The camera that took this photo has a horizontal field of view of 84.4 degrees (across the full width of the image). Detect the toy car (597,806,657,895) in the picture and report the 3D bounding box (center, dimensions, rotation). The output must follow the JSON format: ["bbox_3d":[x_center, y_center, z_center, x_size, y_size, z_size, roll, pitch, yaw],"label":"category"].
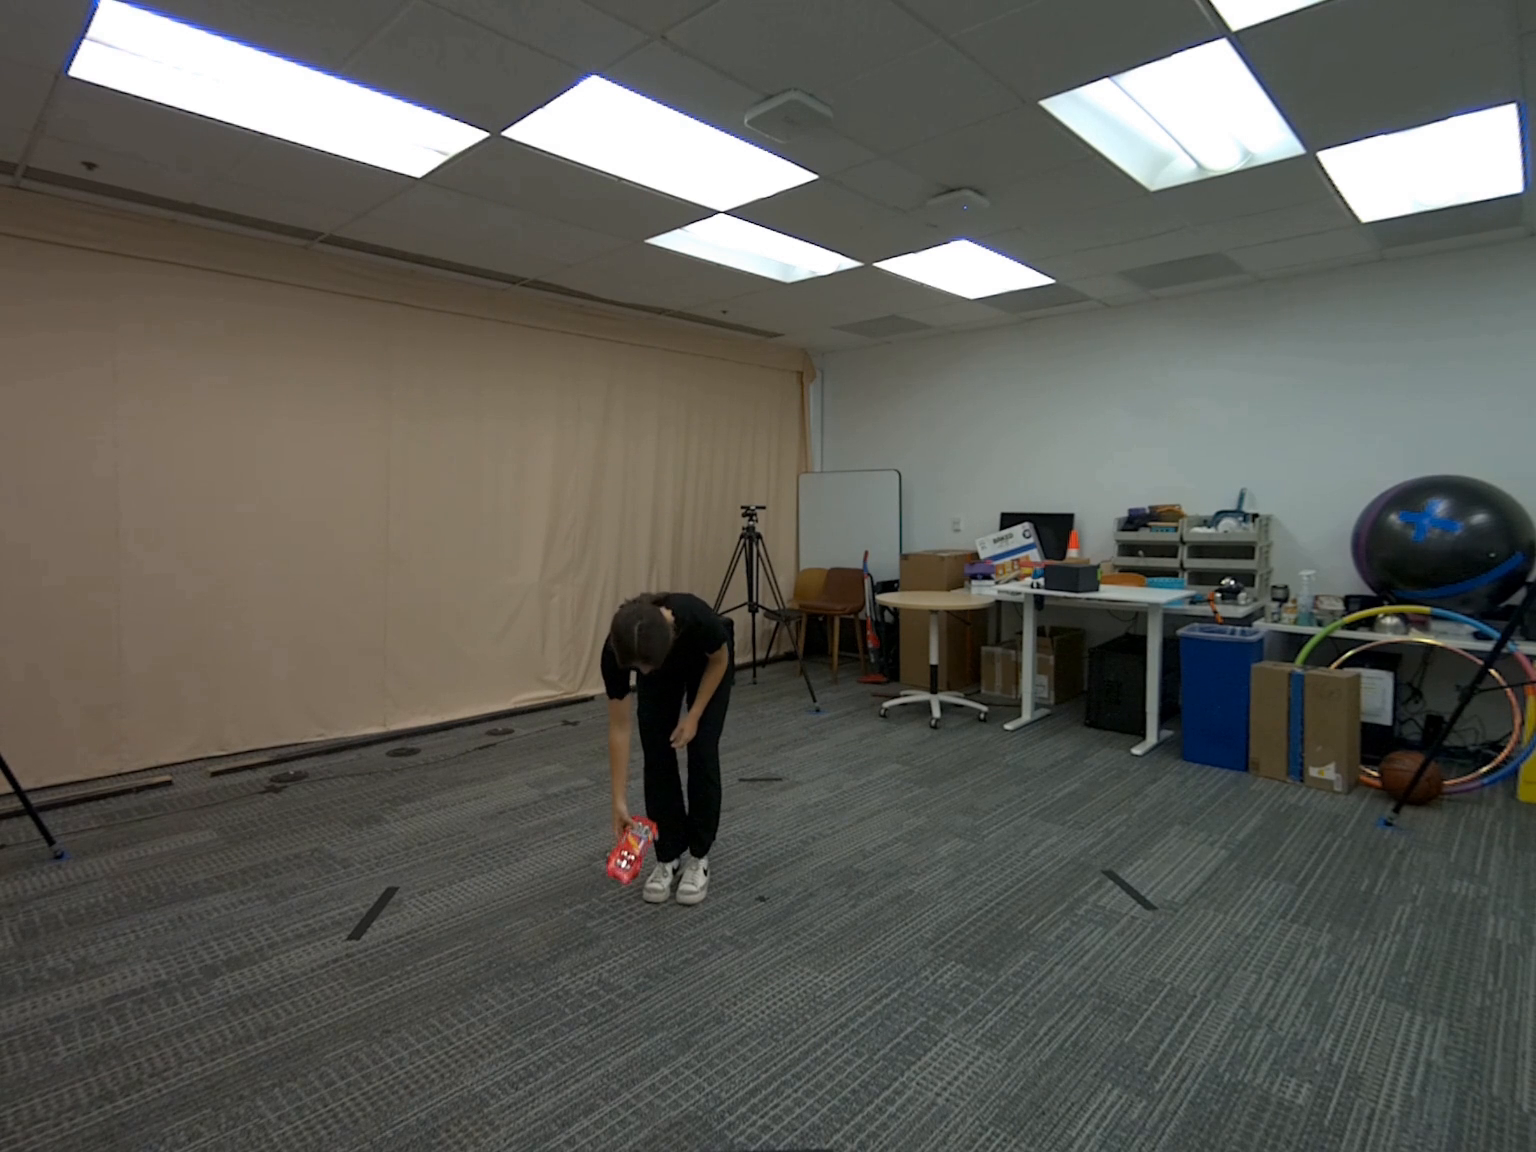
[{"bbox_3d":[-0.455,0.908,2.821,0.130,0.083,0.255,25,27,-1],"label":"toy car"}]
